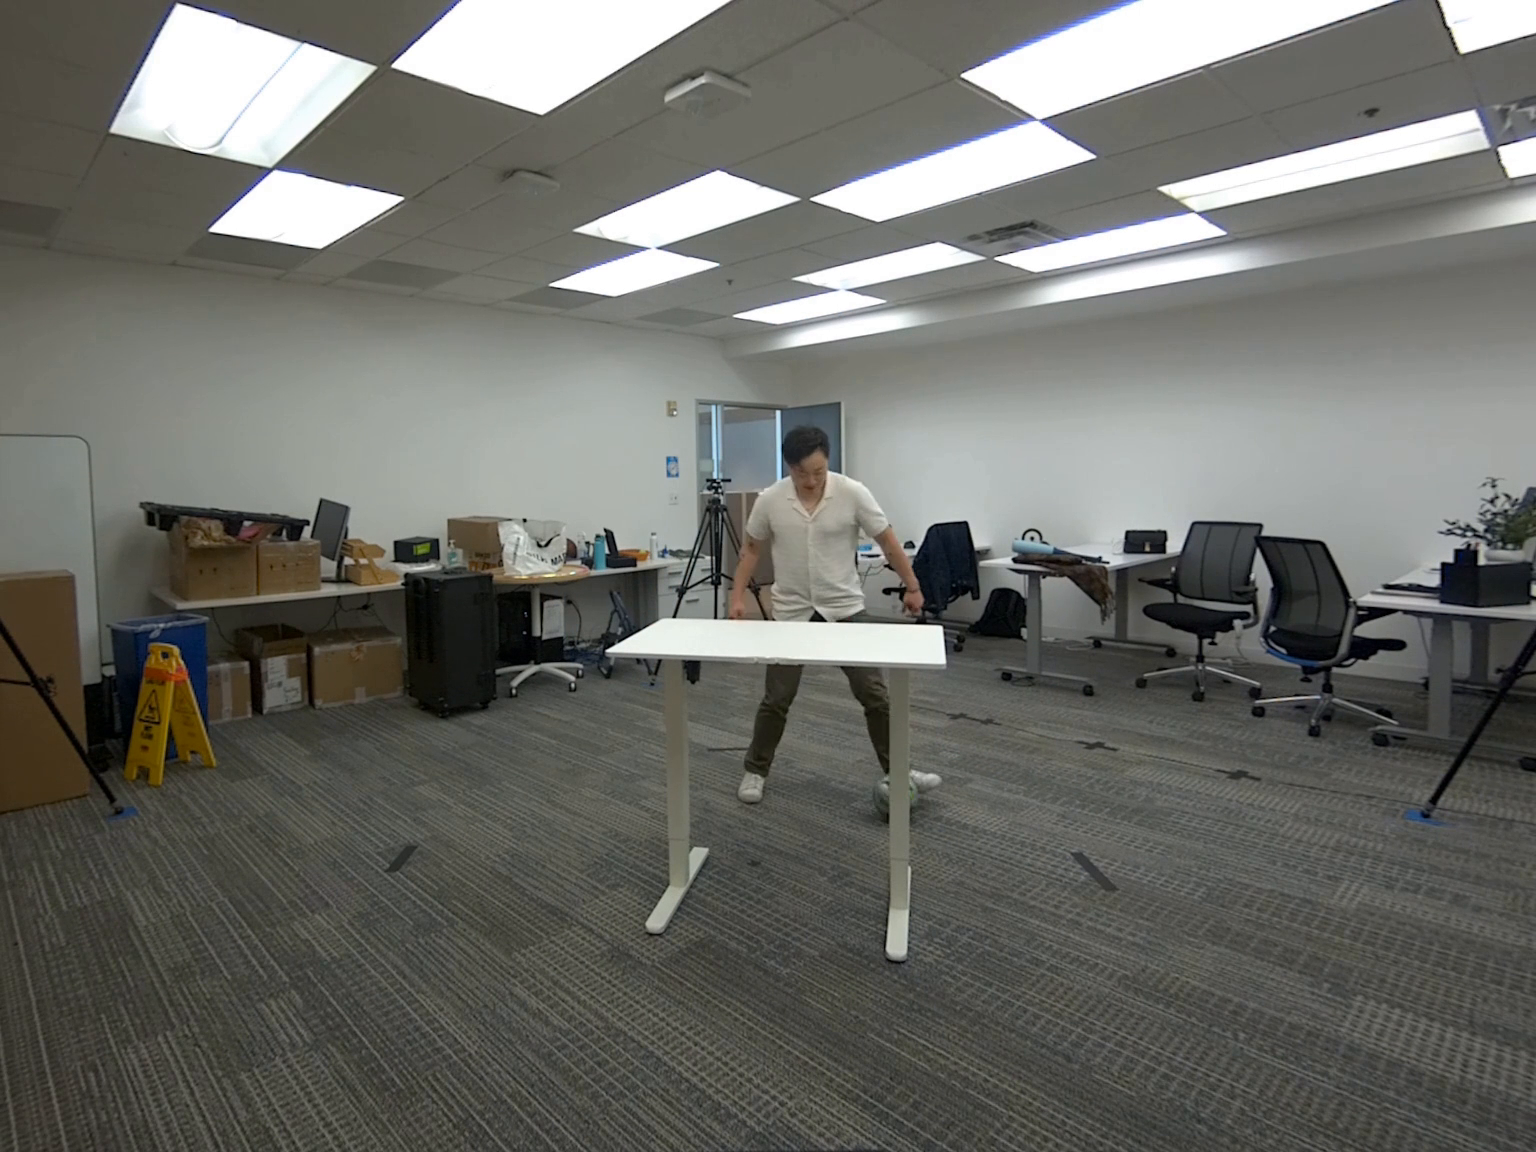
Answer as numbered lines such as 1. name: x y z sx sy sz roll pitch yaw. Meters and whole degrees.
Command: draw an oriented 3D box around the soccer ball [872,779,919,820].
1. soccer ball: 0.524 0.901 3.487 0.187 0.187 0.188 -1 5 -2
